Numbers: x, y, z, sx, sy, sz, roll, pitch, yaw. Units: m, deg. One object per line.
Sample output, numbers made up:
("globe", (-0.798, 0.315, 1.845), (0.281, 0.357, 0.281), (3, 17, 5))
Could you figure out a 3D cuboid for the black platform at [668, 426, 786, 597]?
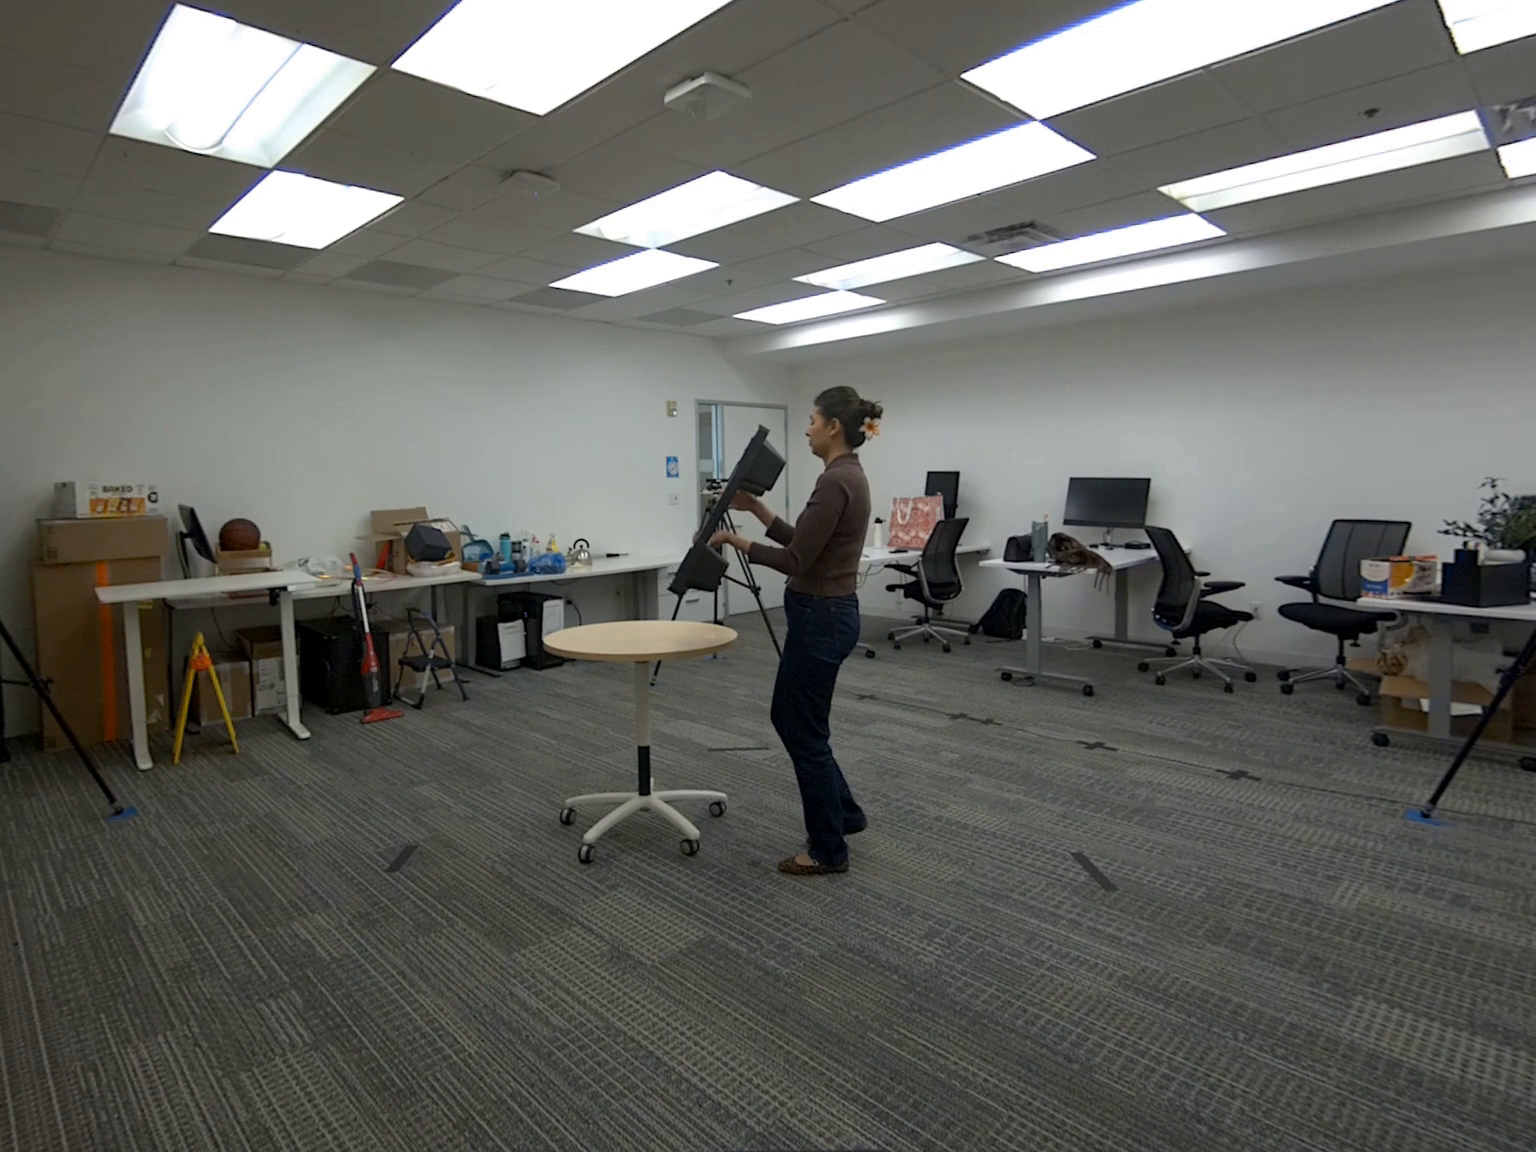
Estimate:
("black platform", (-0.140, -0.193, 3.052), (0.143, 0.605, 0.809), (27, -1, -6))
